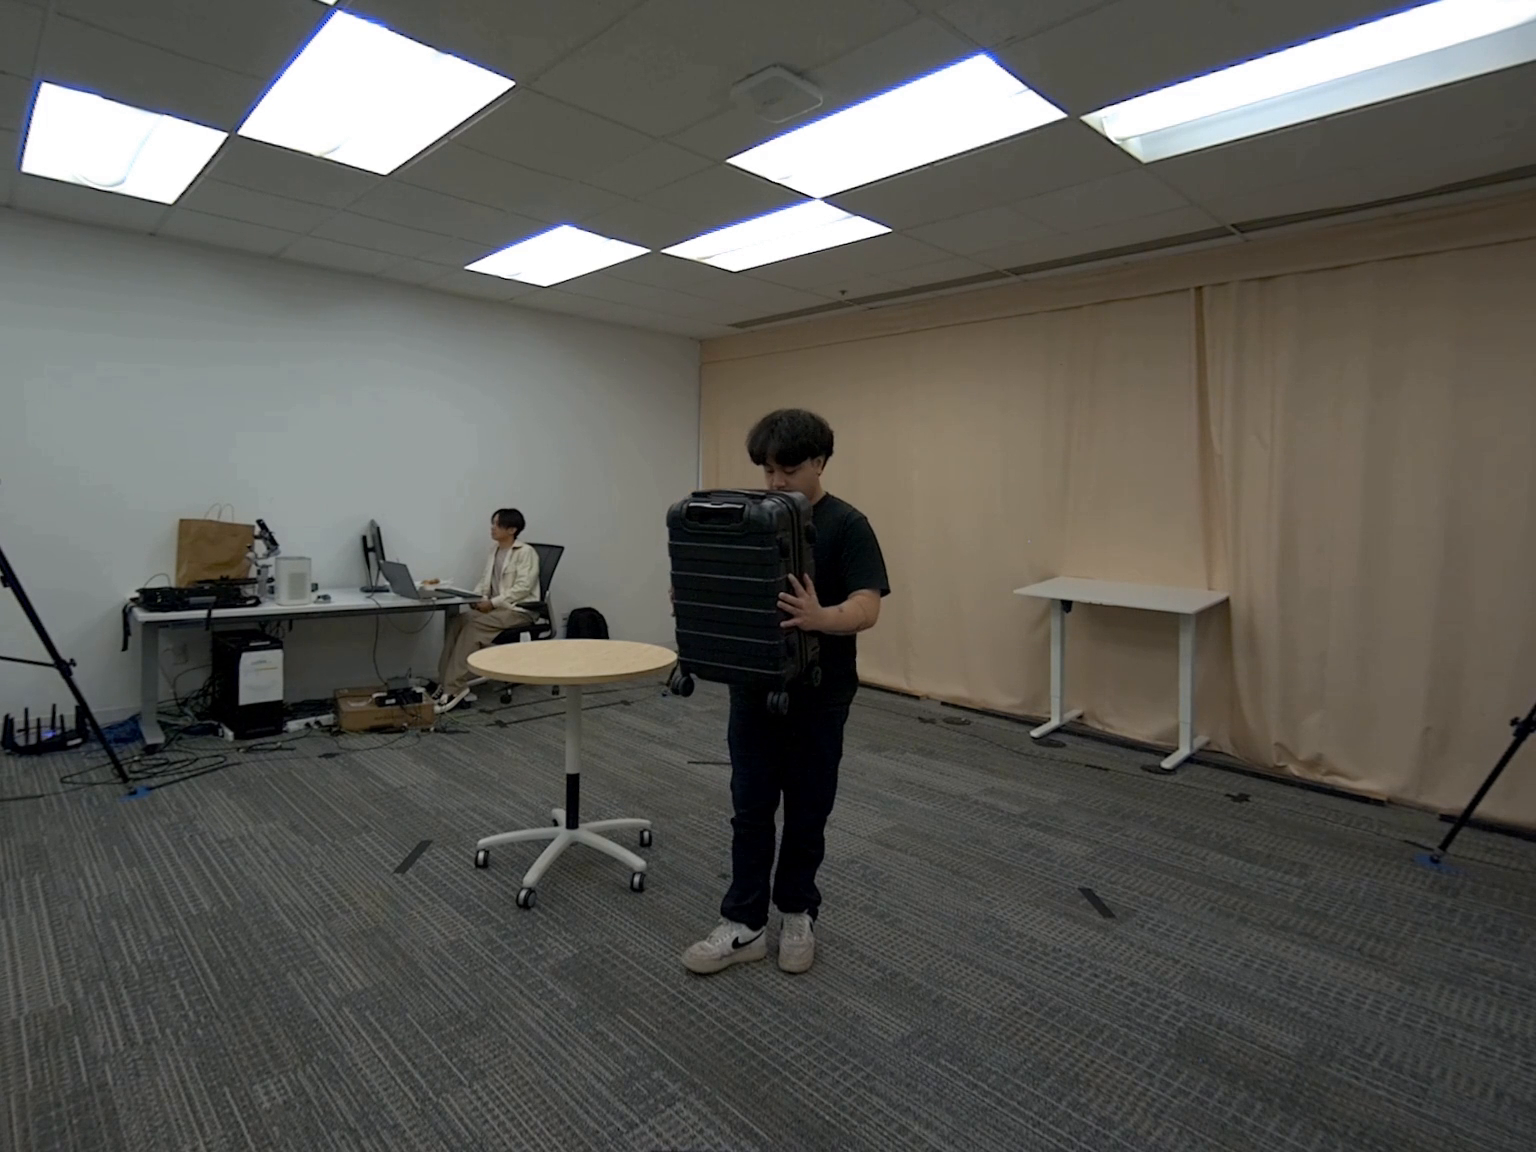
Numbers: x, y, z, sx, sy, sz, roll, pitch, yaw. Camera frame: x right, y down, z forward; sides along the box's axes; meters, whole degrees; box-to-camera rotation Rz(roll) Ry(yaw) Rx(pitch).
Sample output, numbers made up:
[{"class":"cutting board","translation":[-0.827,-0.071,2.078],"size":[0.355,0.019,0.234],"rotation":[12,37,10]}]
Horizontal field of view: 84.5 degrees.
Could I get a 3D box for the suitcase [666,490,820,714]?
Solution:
[{"class":"suitcase","translation":[-0.070,0.041,2.247],"size":[0.384,0.544,0.244],"rotation":[5,14,35]}]
